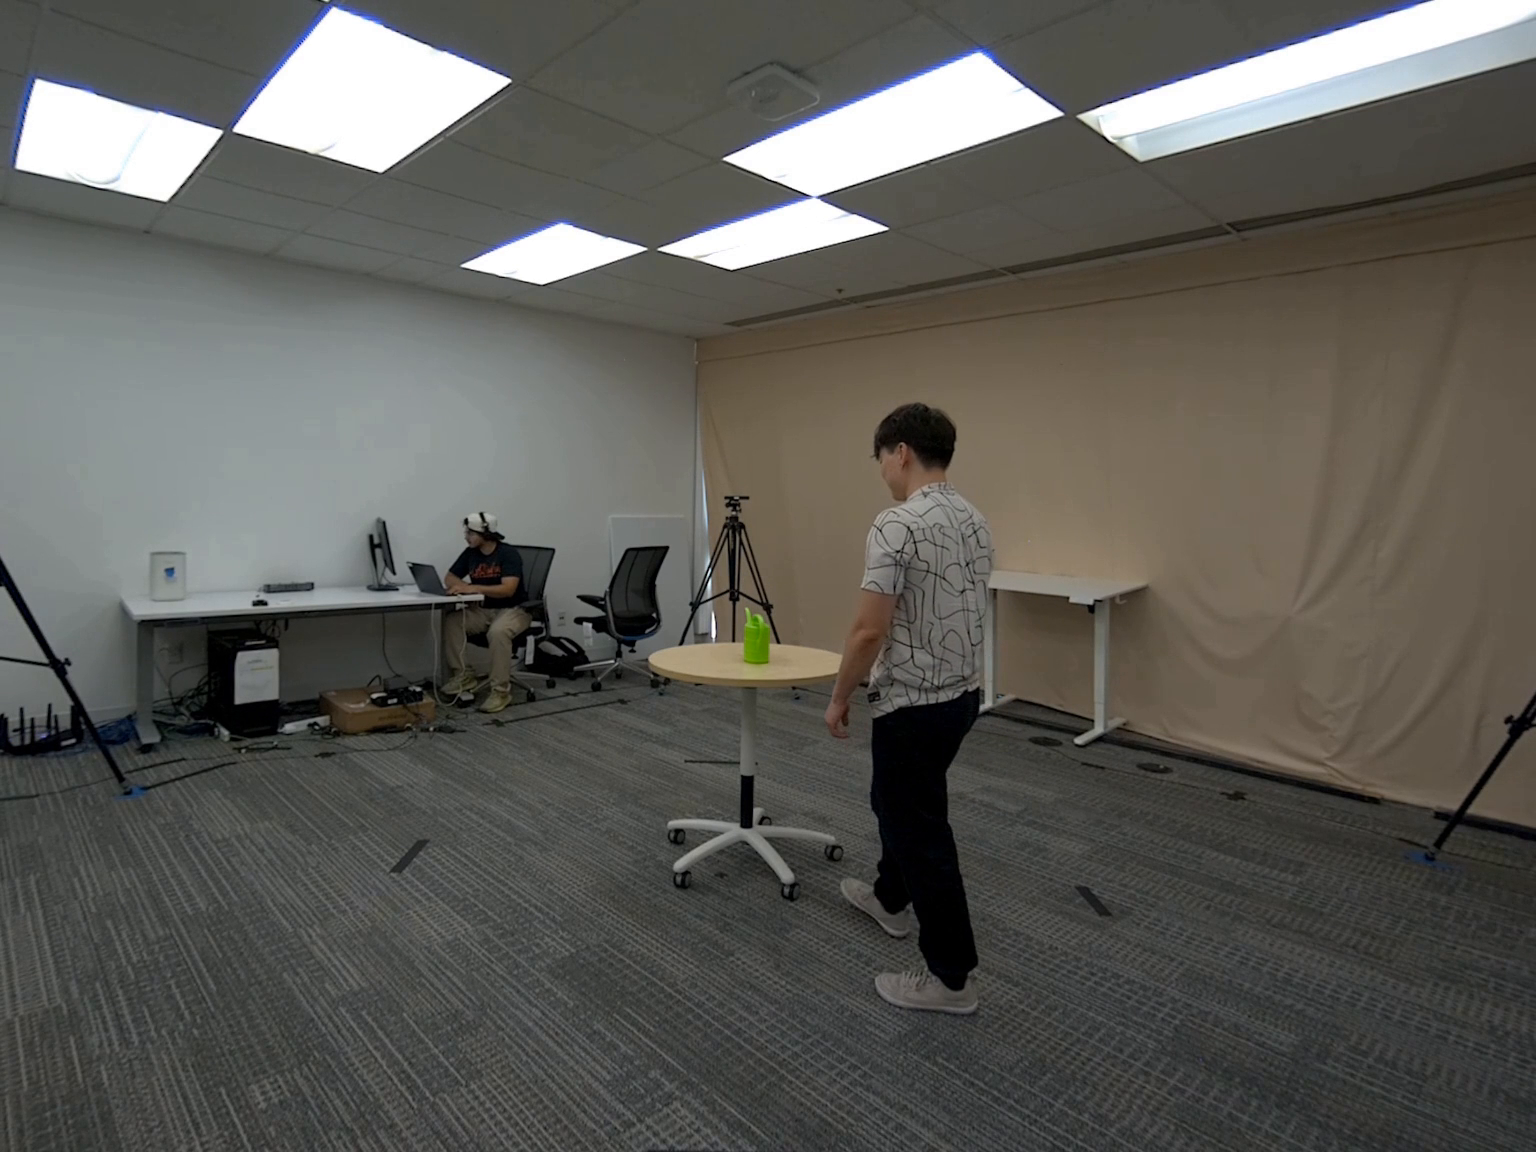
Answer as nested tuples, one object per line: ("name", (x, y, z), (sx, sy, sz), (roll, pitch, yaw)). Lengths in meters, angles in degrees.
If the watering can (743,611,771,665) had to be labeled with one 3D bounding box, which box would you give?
("watering can", (-0.047, 0.234, 3.180), (0.098, 0.176, 0.278), (5, 4, 1))
